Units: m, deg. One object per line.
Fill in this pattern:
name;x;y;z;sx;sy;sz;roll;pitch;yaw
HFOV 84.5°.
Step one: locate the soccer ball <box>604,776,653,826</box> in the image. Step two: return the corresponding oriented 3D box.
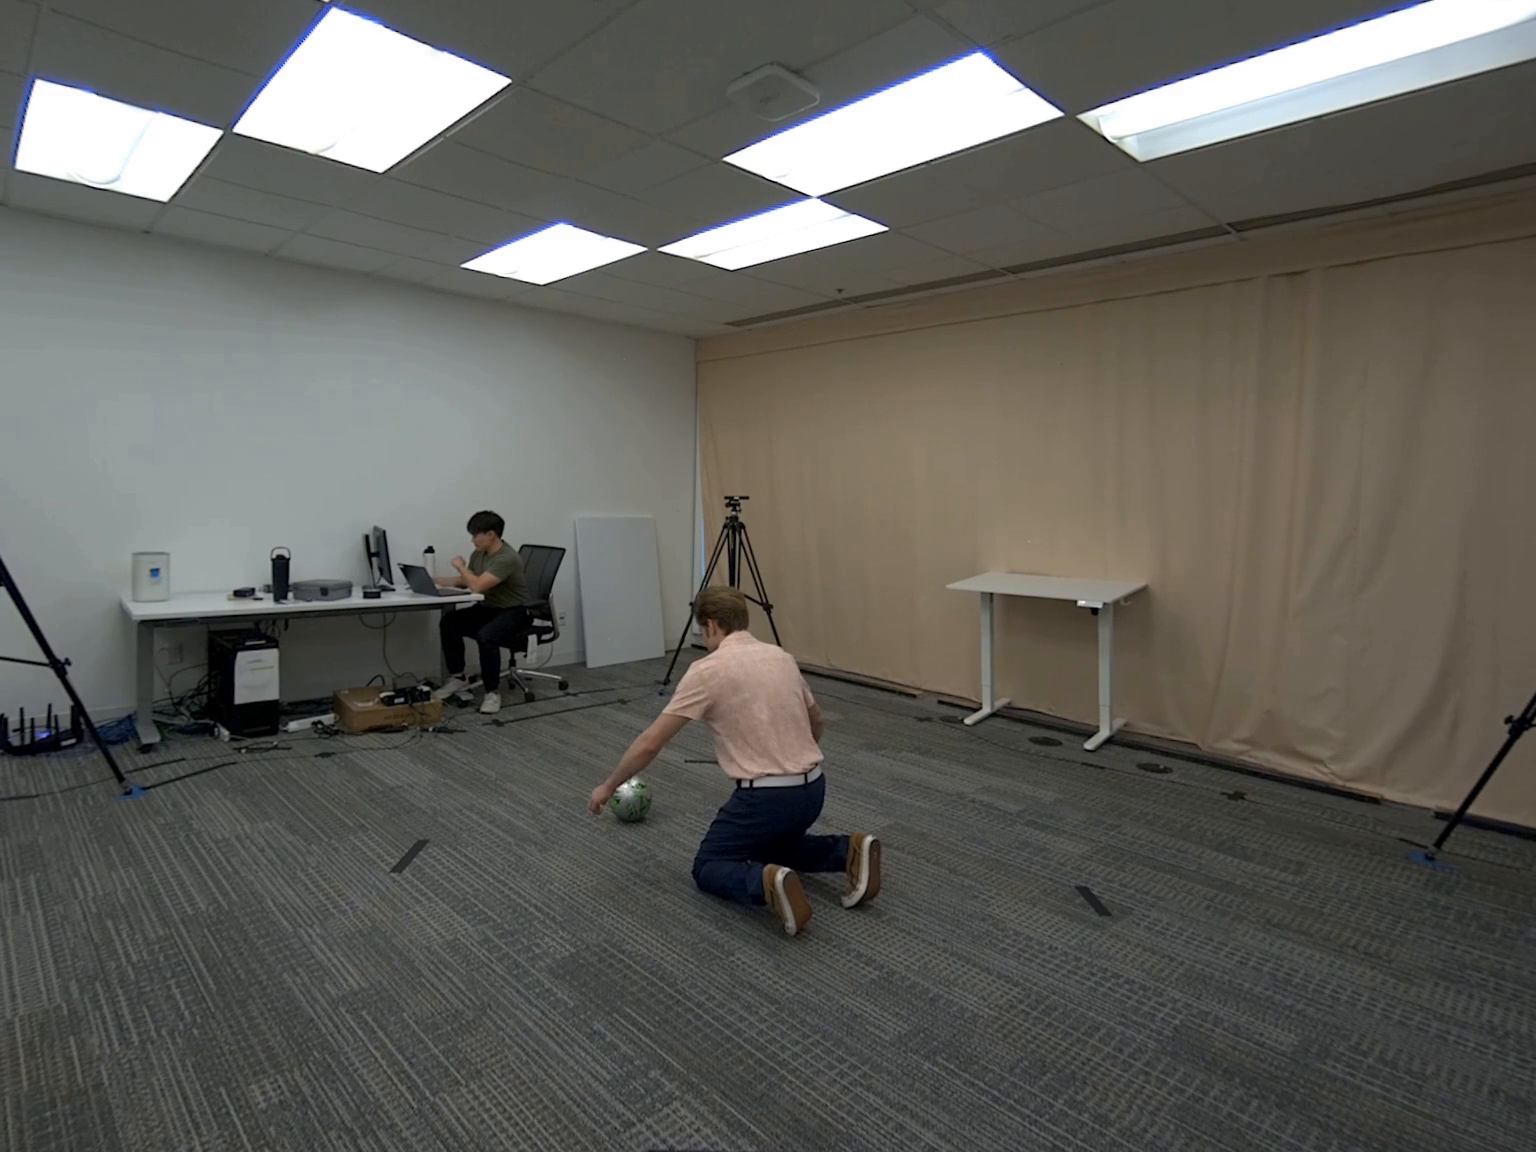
soccer ball;-0.599;0.958;3.617;0.187;0.187;0.188;1;4;-1
